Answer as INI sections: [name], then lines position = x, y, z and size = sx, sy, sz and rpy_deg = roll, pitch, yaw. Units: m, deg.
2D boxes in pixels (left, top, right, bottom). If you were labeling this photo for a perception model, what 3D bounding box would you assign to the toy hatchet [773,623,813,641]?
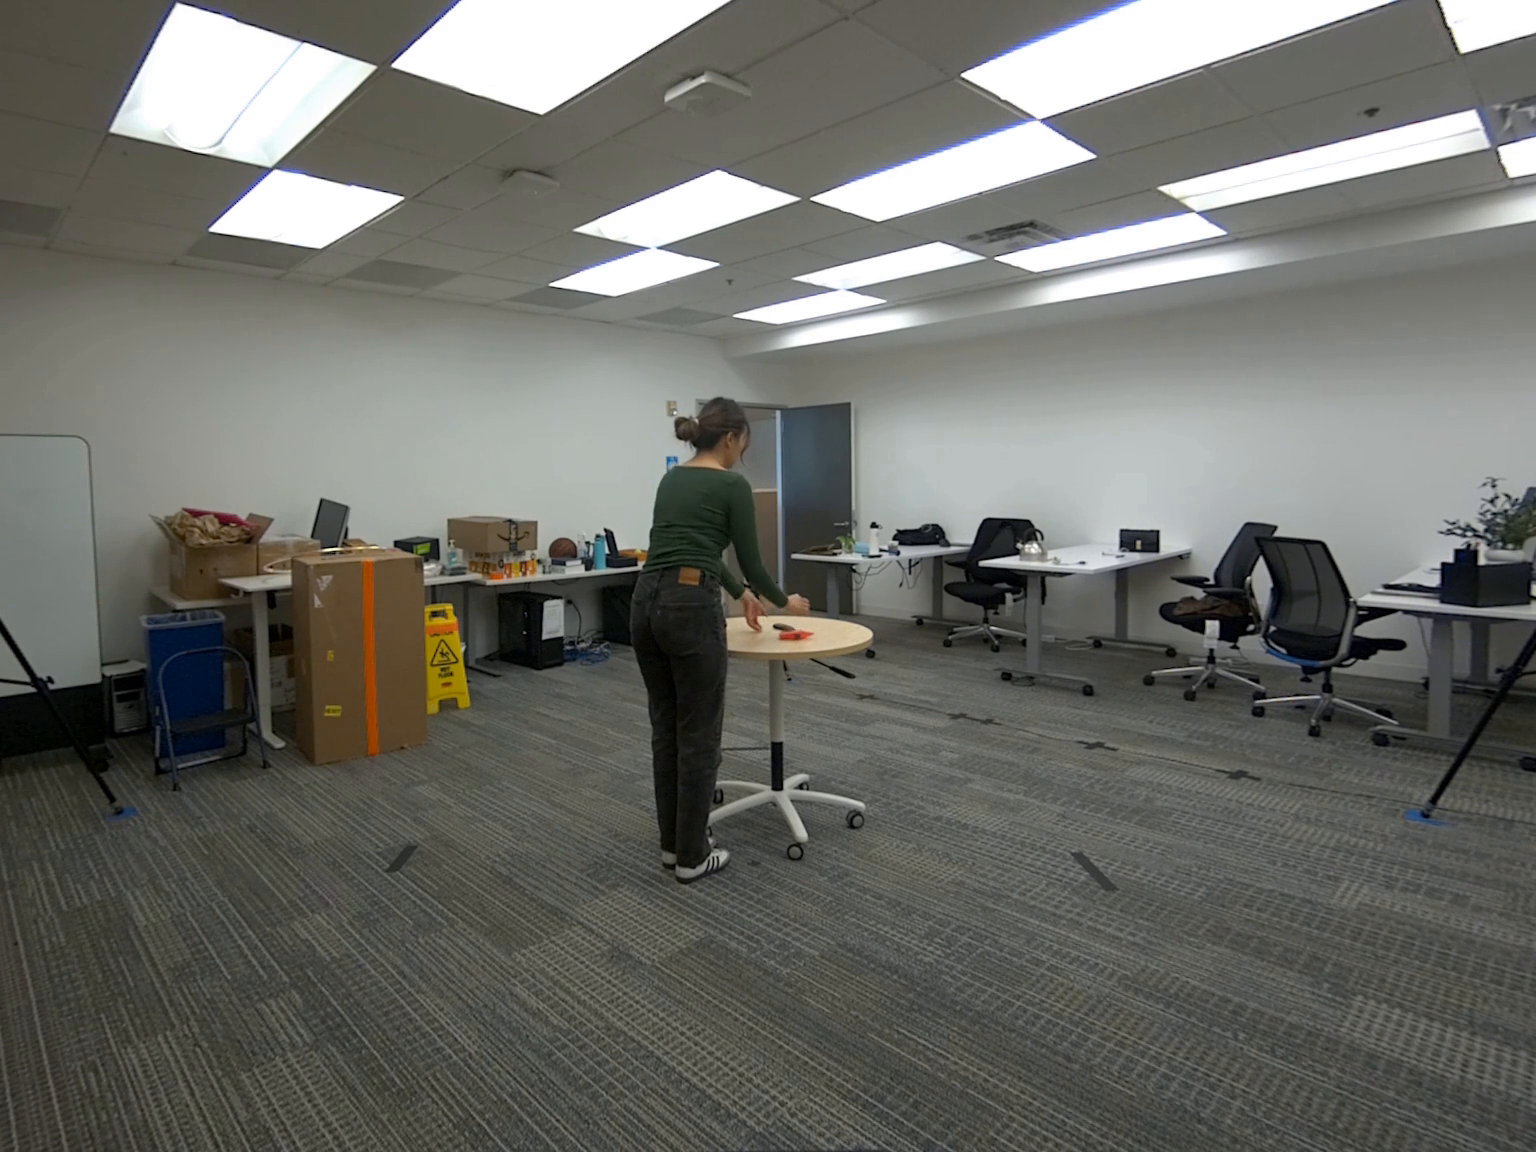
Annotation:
[toy hatchet]
position = 0.068, 0.219, 3.367
size = 0.128, 0.029, 0.277
rpy_deg = -8, 7, -27
